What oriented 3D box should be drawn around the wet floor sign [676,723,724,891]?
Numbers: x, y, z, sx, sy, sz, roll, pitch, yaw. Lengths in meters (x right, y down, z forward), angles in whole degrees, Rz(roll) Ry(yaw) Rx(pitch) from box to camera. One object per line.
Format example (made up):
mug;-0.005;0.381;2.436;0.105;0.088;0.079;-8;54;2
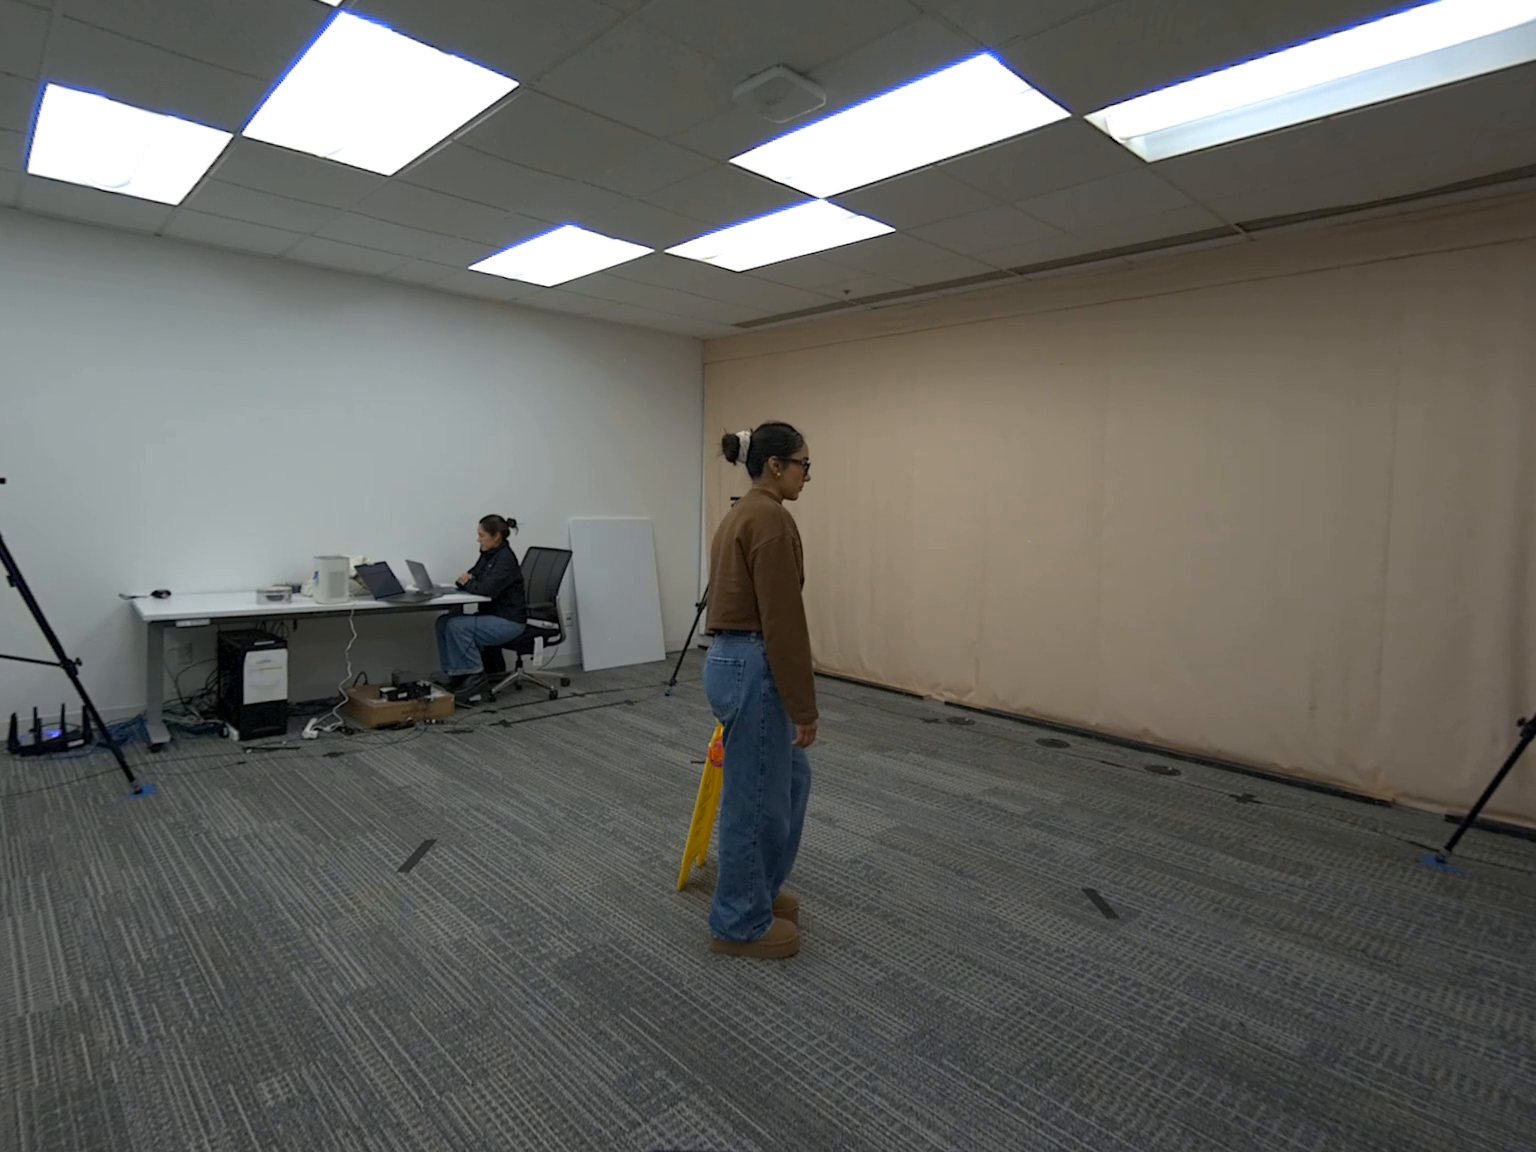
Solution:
wet floor sign;-0.148;0.791;3.041;0.294;0.644;0.279;3;5;17
